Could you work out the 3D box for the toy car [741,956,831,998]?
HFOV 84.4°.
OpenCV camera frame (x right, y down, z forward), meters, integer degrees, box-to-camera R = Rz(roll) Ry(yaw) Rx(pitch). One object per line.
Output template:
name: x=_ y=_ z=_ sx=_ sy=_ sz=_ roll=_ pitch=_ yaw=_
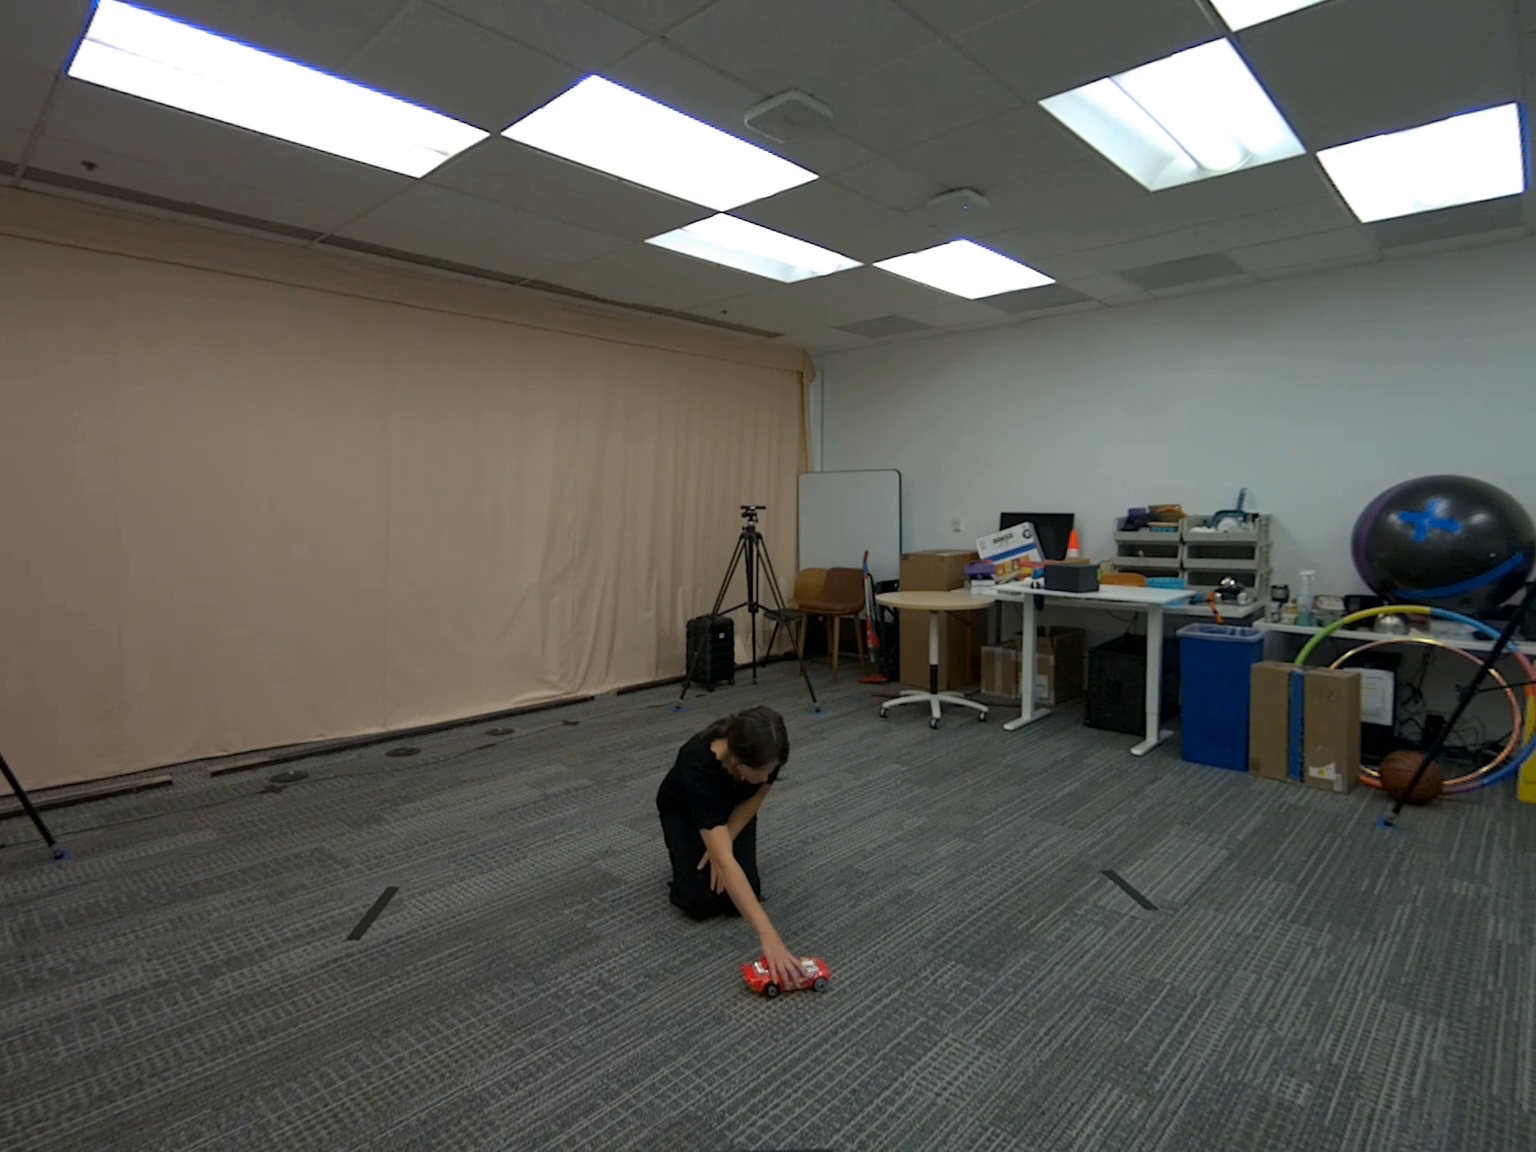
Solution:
toy car: x=0.041 y=1.161 z=2.433 sx=0.251 sy=0.083 sz=0.132 roll=9 pitch=0 yaw=-14
